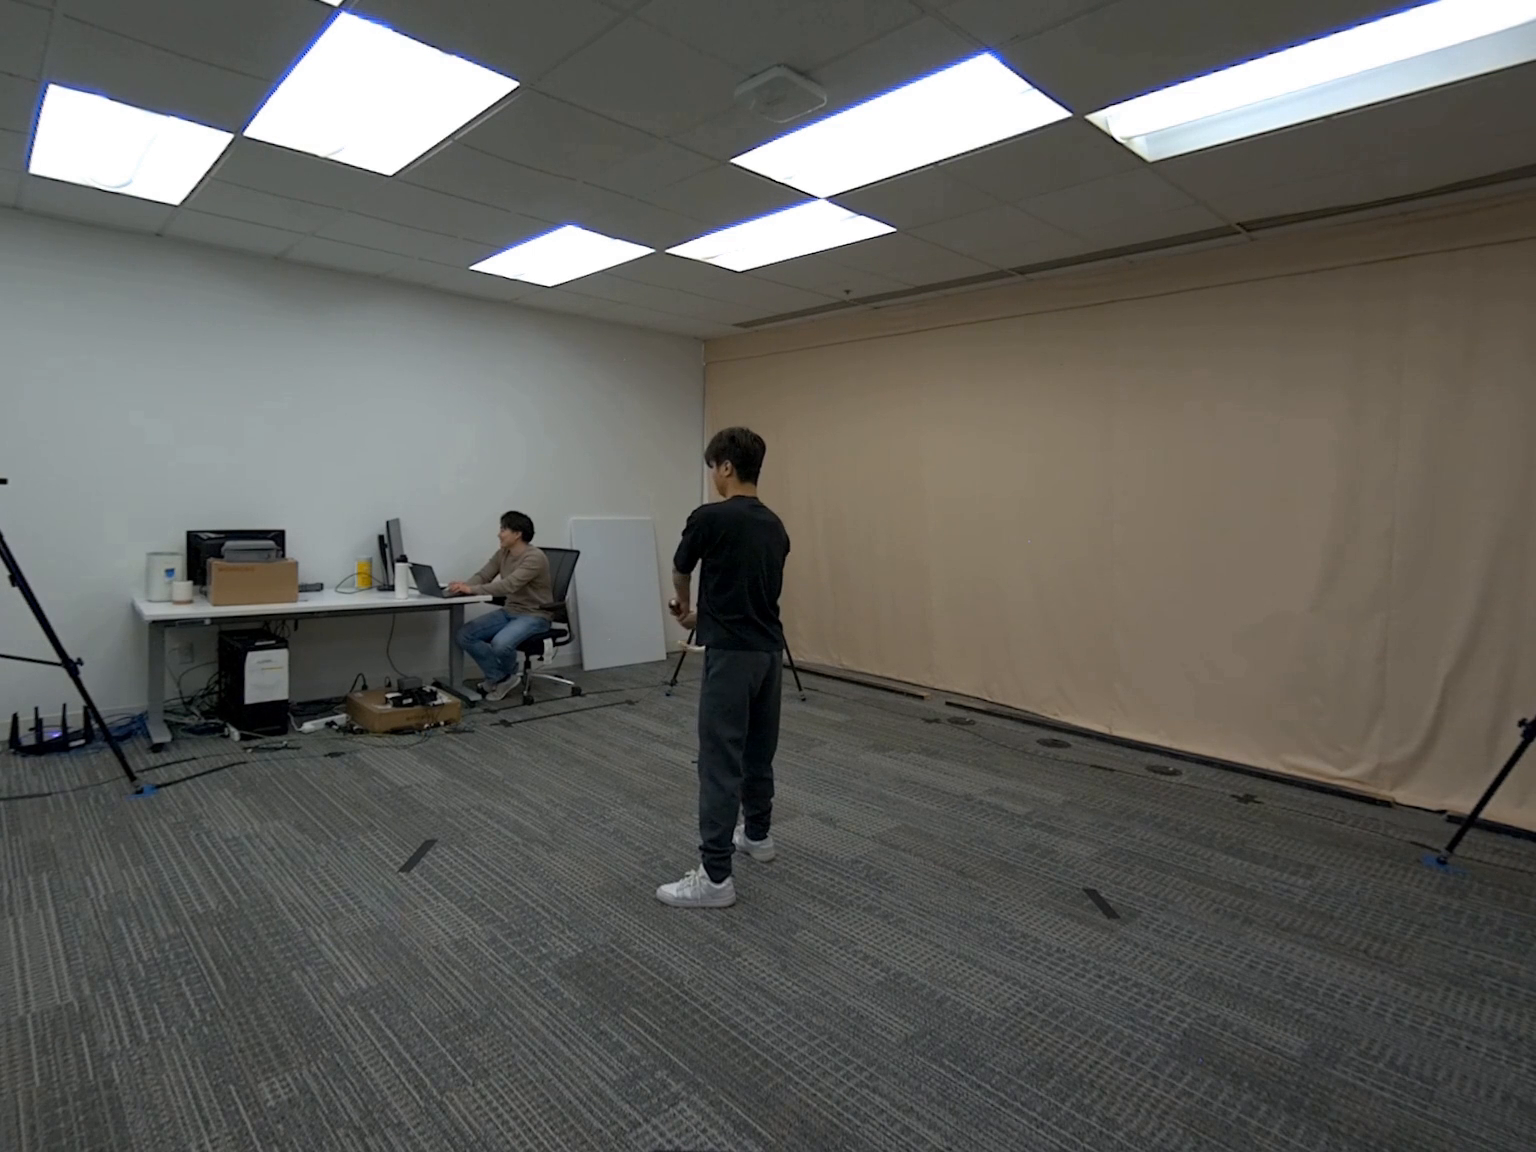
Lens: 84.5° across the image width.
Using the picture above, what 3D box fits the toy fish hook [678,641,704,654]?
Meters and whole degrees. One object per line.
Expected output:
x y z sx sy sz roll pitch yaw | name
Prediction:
-0.326 0.227 3.543 0.226 0.049 0.490 -25 -37 18 | toy fish hook
